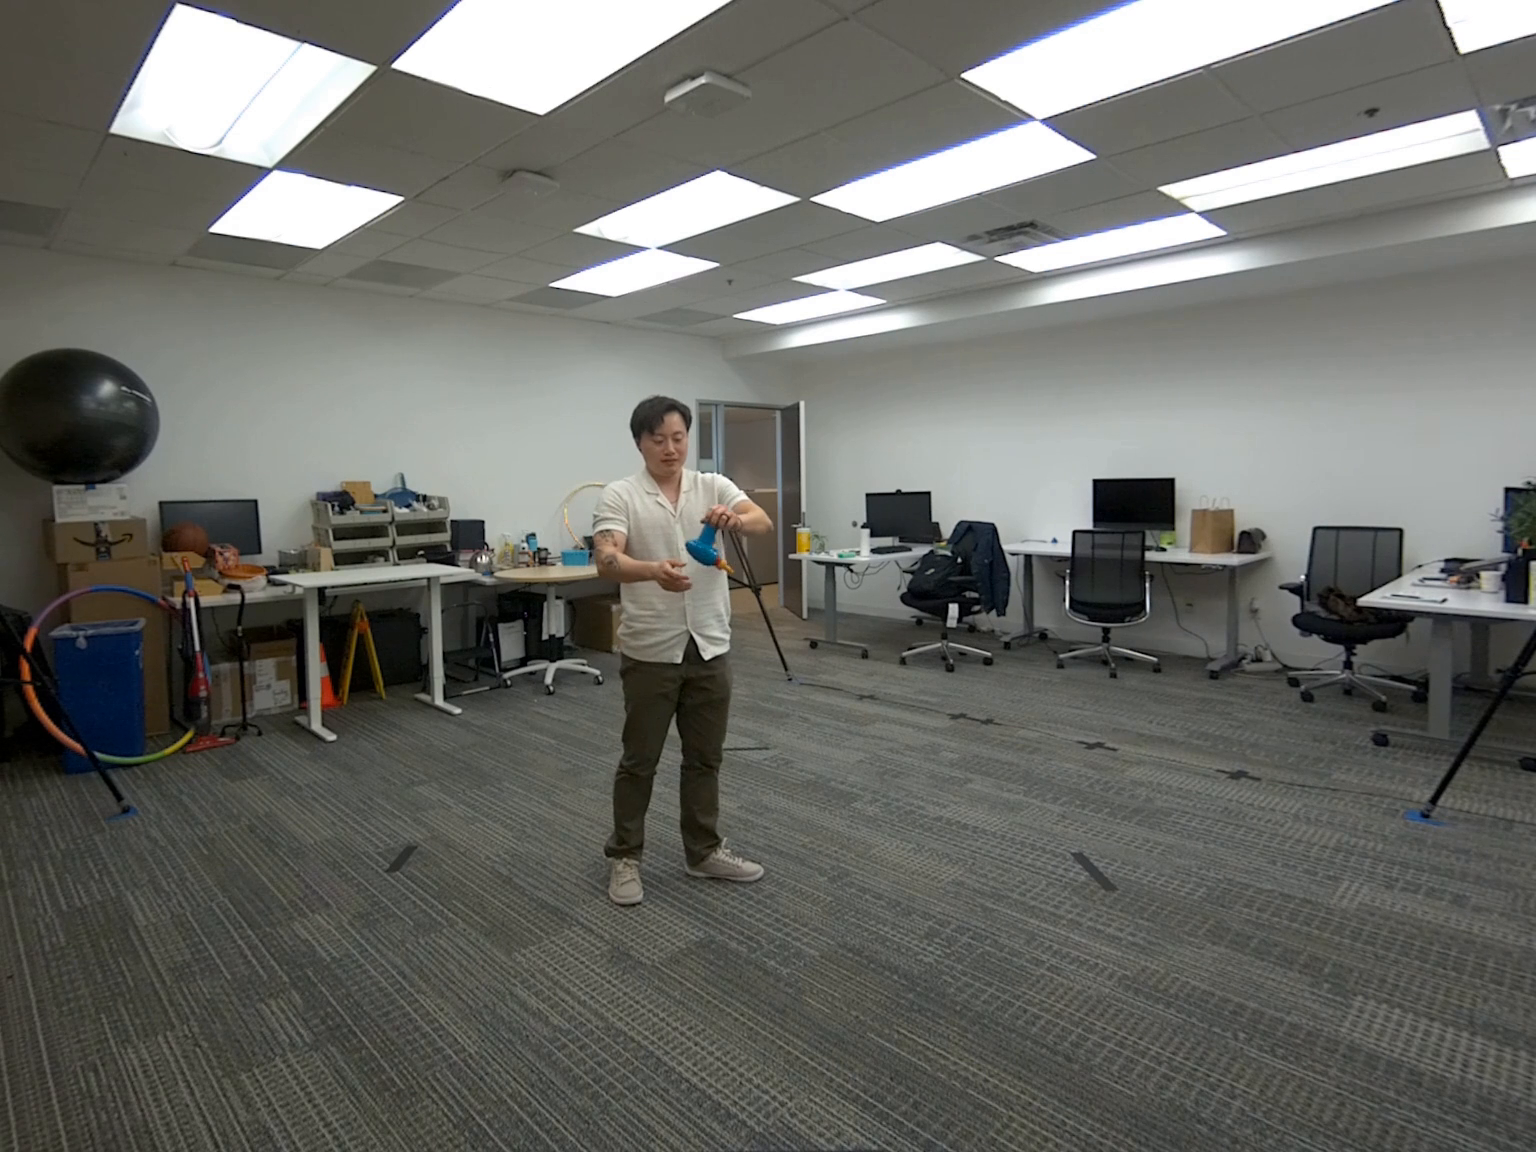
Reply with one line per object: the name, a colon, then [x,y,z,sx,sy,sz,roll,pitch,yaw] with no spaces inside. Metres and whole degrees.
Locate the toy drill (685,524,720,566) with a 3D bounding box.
toy drill: [-0.155,-0.087,2.526,0.168,0.146,0.062,32,-4,-7]
